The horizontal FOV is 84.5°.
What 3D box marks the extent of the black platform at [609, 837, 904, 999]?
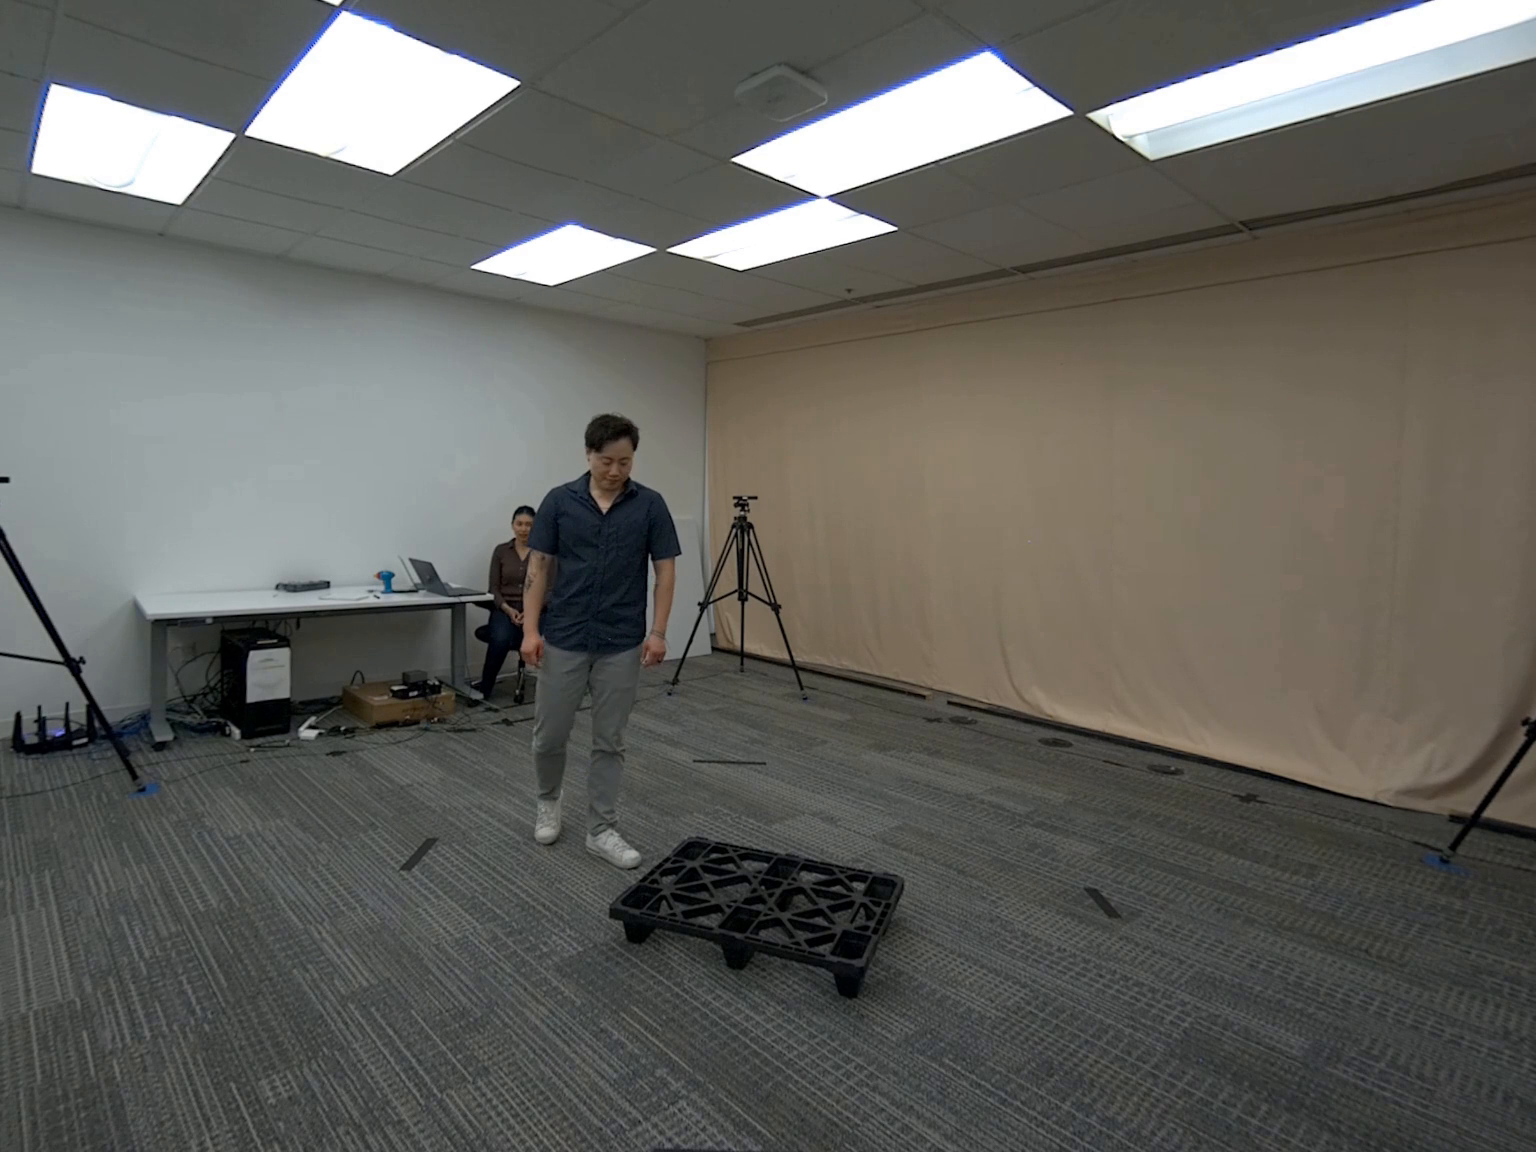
[{"bbox_3d":[-0.020,1.075,2.693,0.819,0.143,0.597,3,6,21],"label":"black platform"}]
